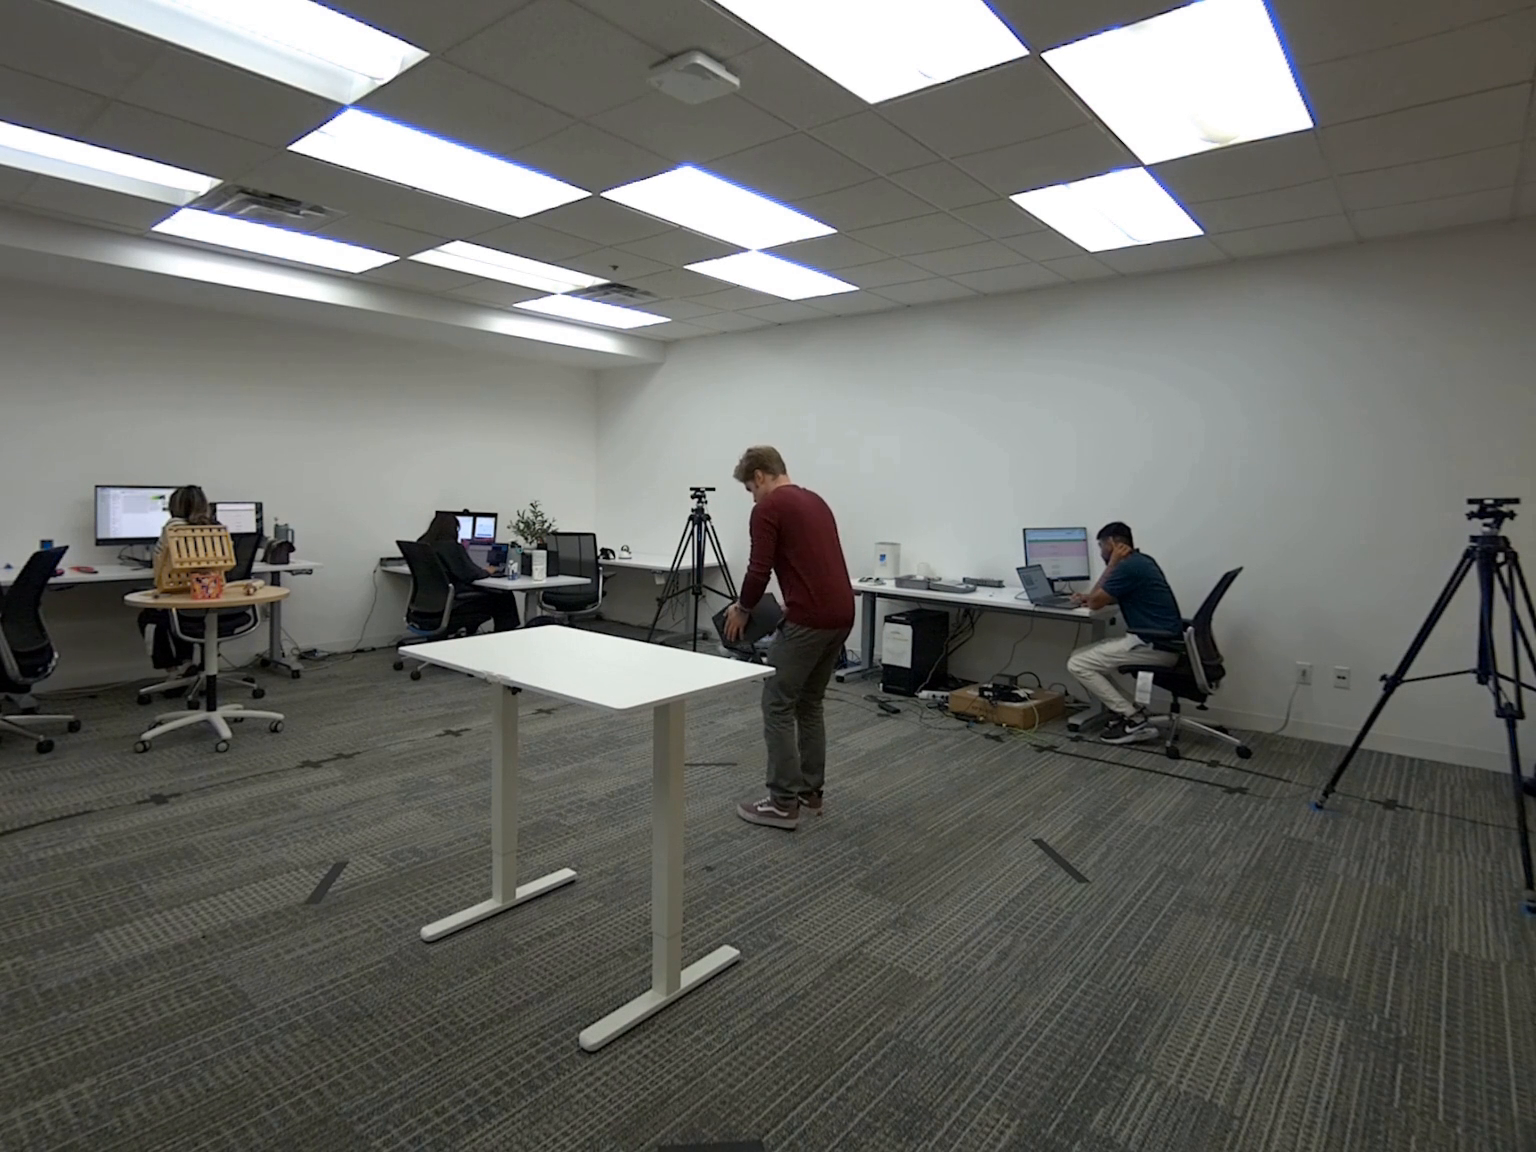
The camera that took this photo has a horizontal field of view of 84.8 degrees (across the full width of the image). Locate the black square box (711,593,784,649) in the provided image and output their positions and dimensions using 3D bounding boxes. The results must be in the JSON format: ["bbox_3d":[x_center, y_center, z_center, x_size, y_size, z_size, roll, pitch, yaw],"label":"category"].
[{"bbox_3d":[-0.095,0.200,3.868,0.221,0.160,0.218,-5,-27,-50],"label":"black square box"}]
